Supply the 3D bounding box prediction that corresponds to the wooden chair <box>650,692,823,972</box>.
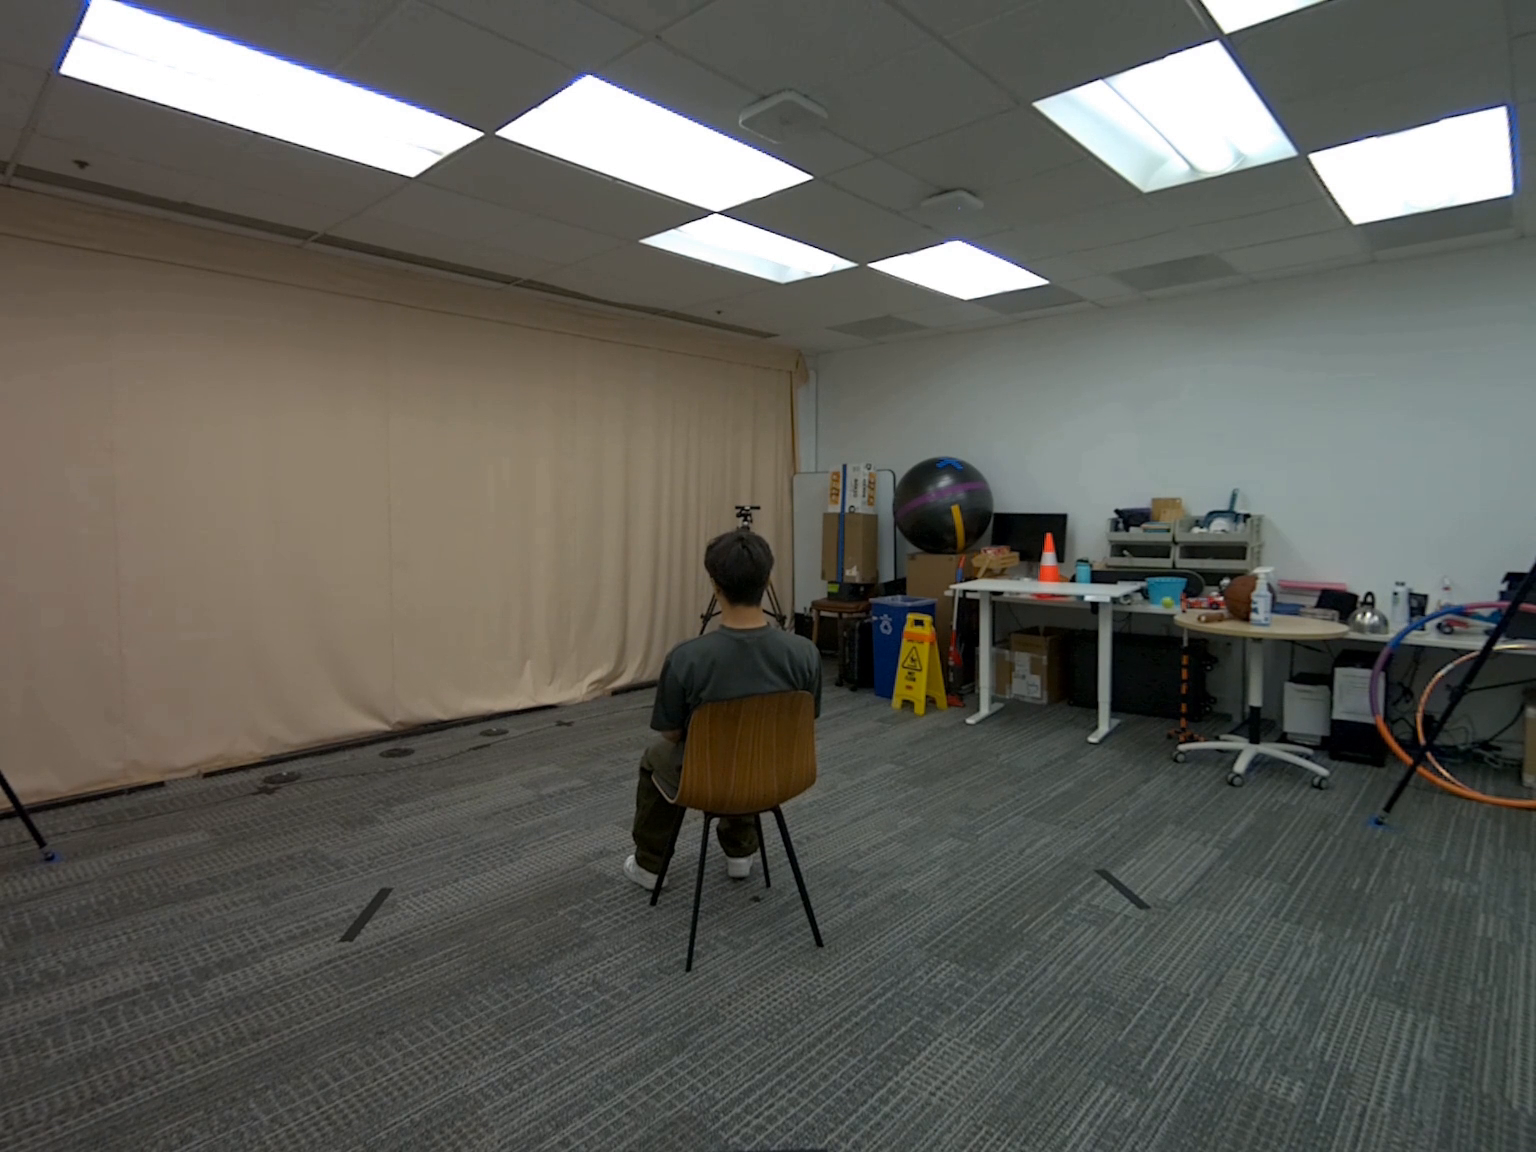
[{"bbox_3d":[-0.118,0.729,2.773,0.469,0.873,0.536,-2,8,-20],"label":"wooden chair"}]
